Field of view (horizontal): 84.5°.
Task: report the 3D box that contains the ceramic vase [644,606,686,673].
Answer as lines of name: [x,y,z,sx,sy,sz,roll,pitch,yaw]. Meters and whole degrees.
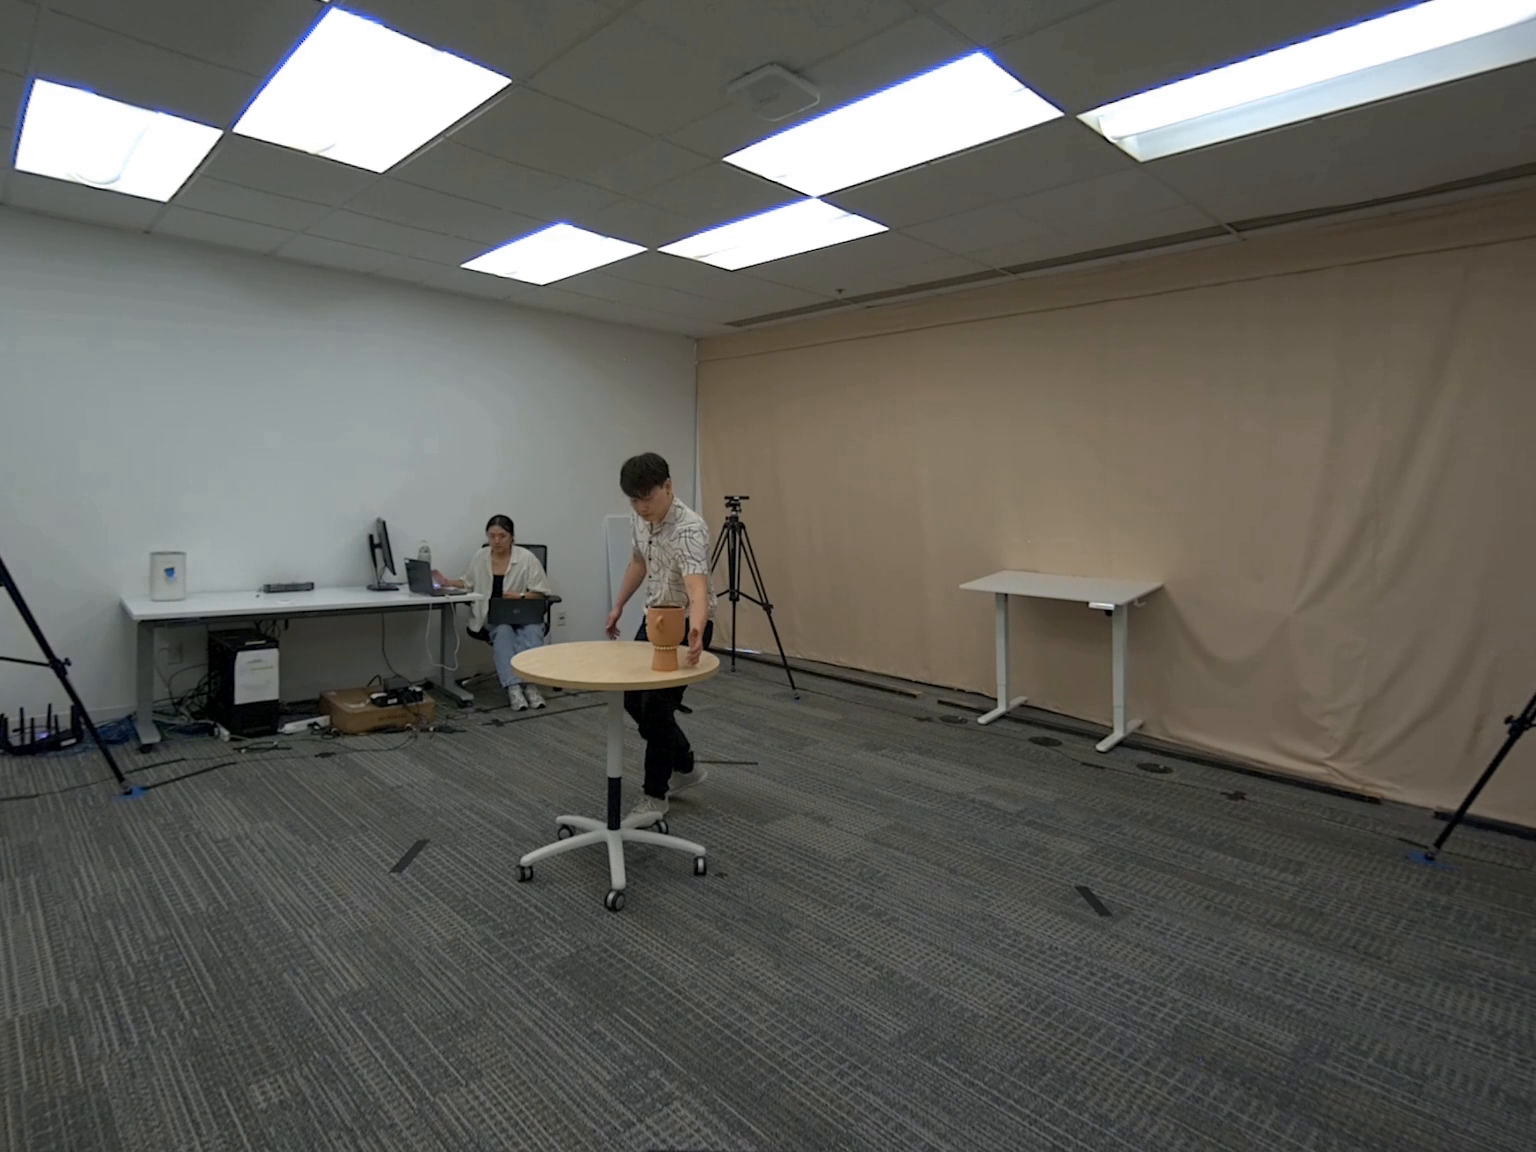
ceramic vase: [-0.367,0.219,2.975,0.155,0.219,0.138,-2,5,-40]
